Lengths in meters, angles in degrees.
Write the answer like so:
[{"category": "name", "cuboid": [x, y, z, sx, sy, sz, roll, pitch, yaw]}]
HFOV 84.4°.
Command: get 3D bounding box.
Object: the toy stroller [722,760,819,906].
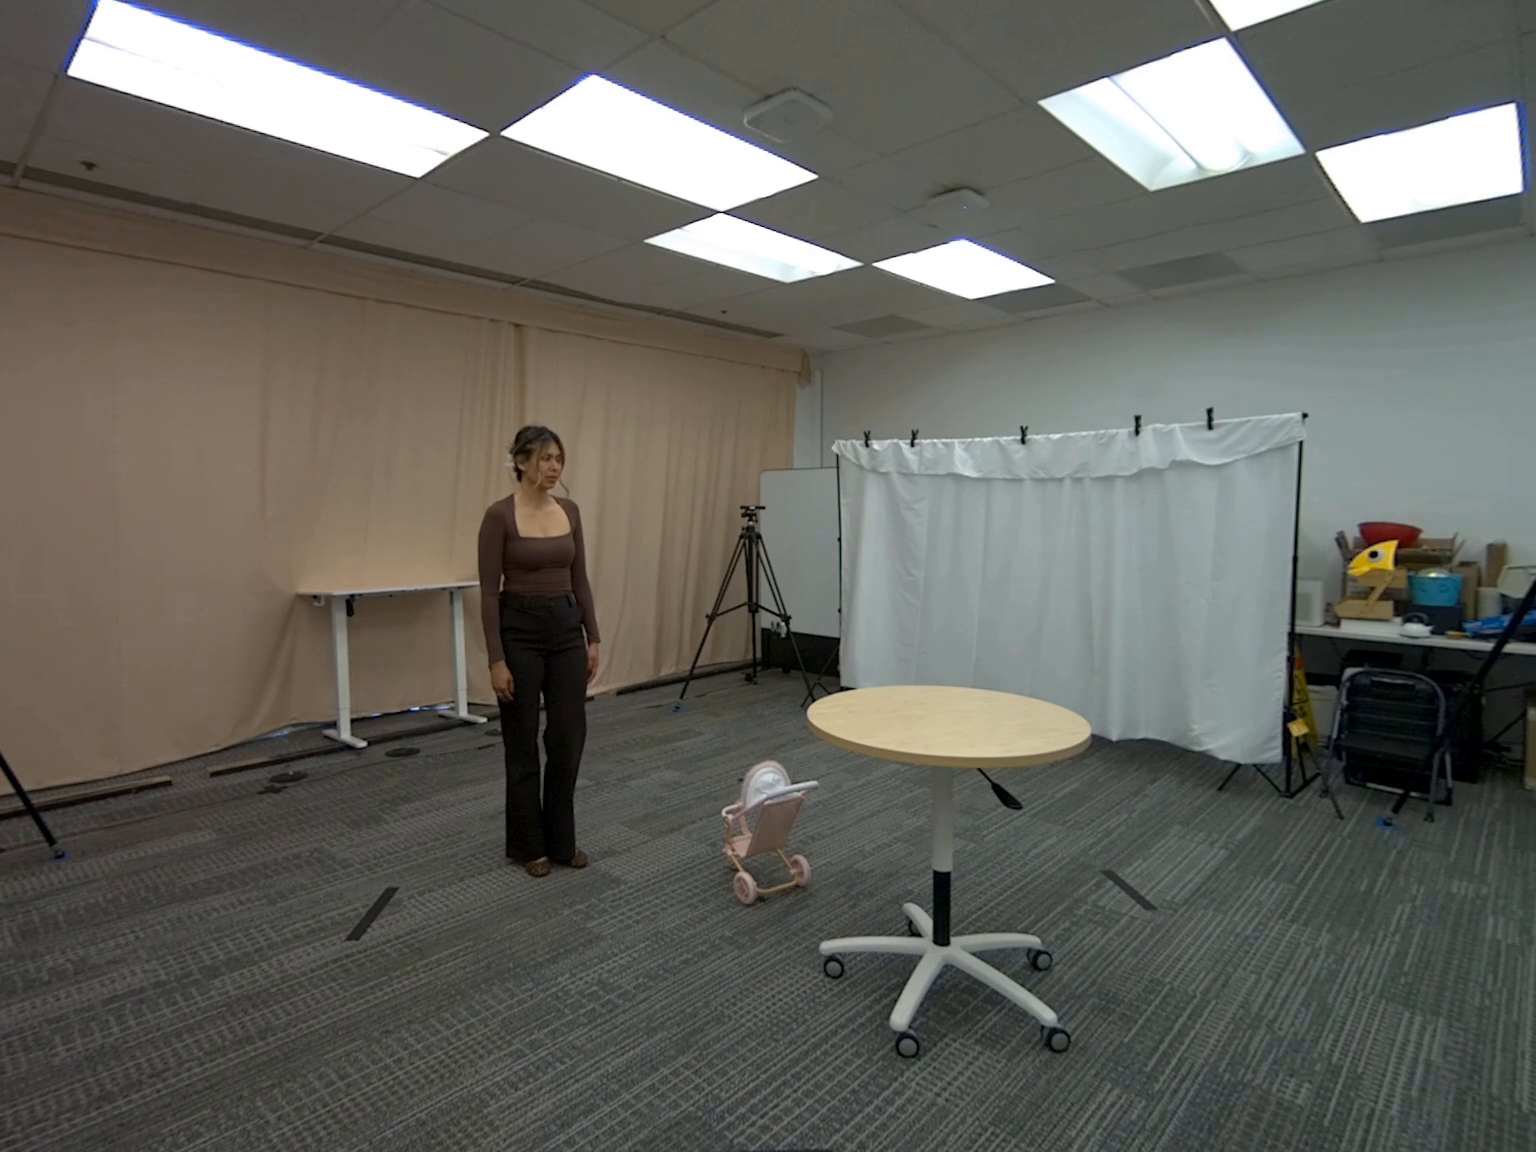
[{"category": "toy stroller", "cuboid": [-0.016, 0.910, 3.064, 0.274, 0.531, 0.353, -2, 19, -31]}]
